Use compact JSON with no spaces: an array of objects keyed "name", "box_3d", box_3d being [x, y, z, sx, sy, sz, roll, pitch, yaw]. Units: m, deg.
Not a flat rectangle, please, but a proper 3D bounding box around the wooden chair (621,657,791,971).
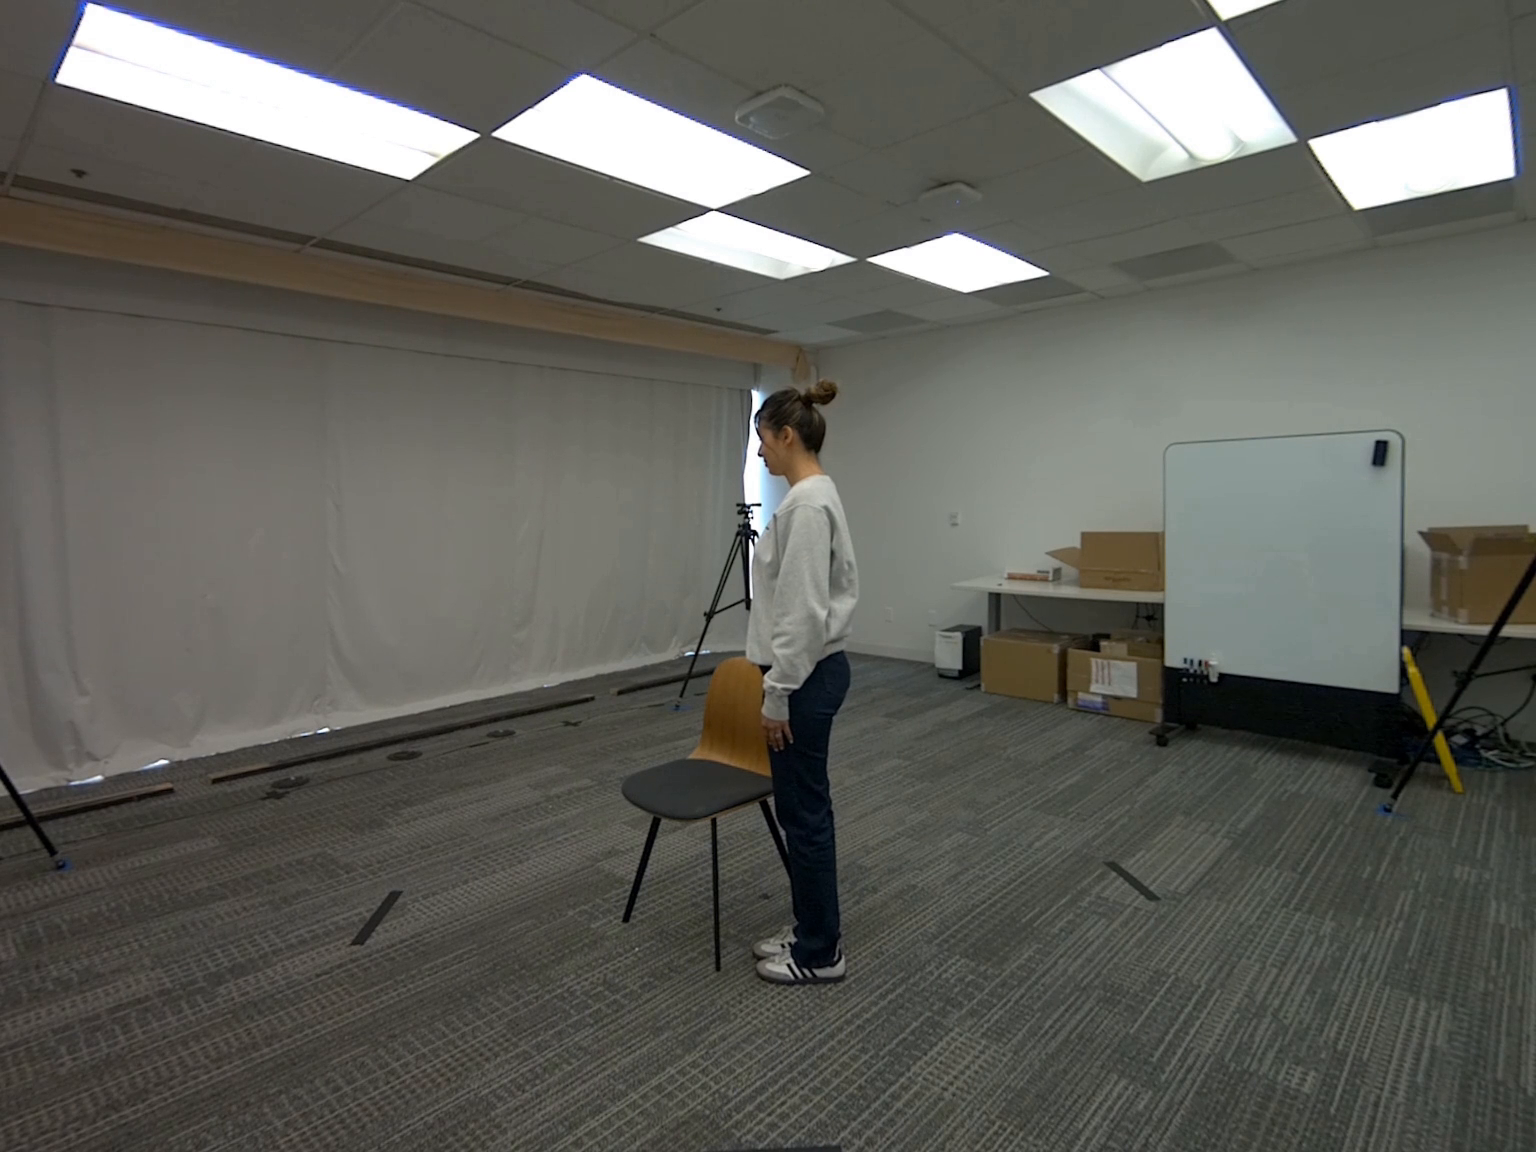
[{"name":"wooden chair","box_3d":[-0.182,0.730,2.794,0.494,0.877,0.506,3,1,43]}]
